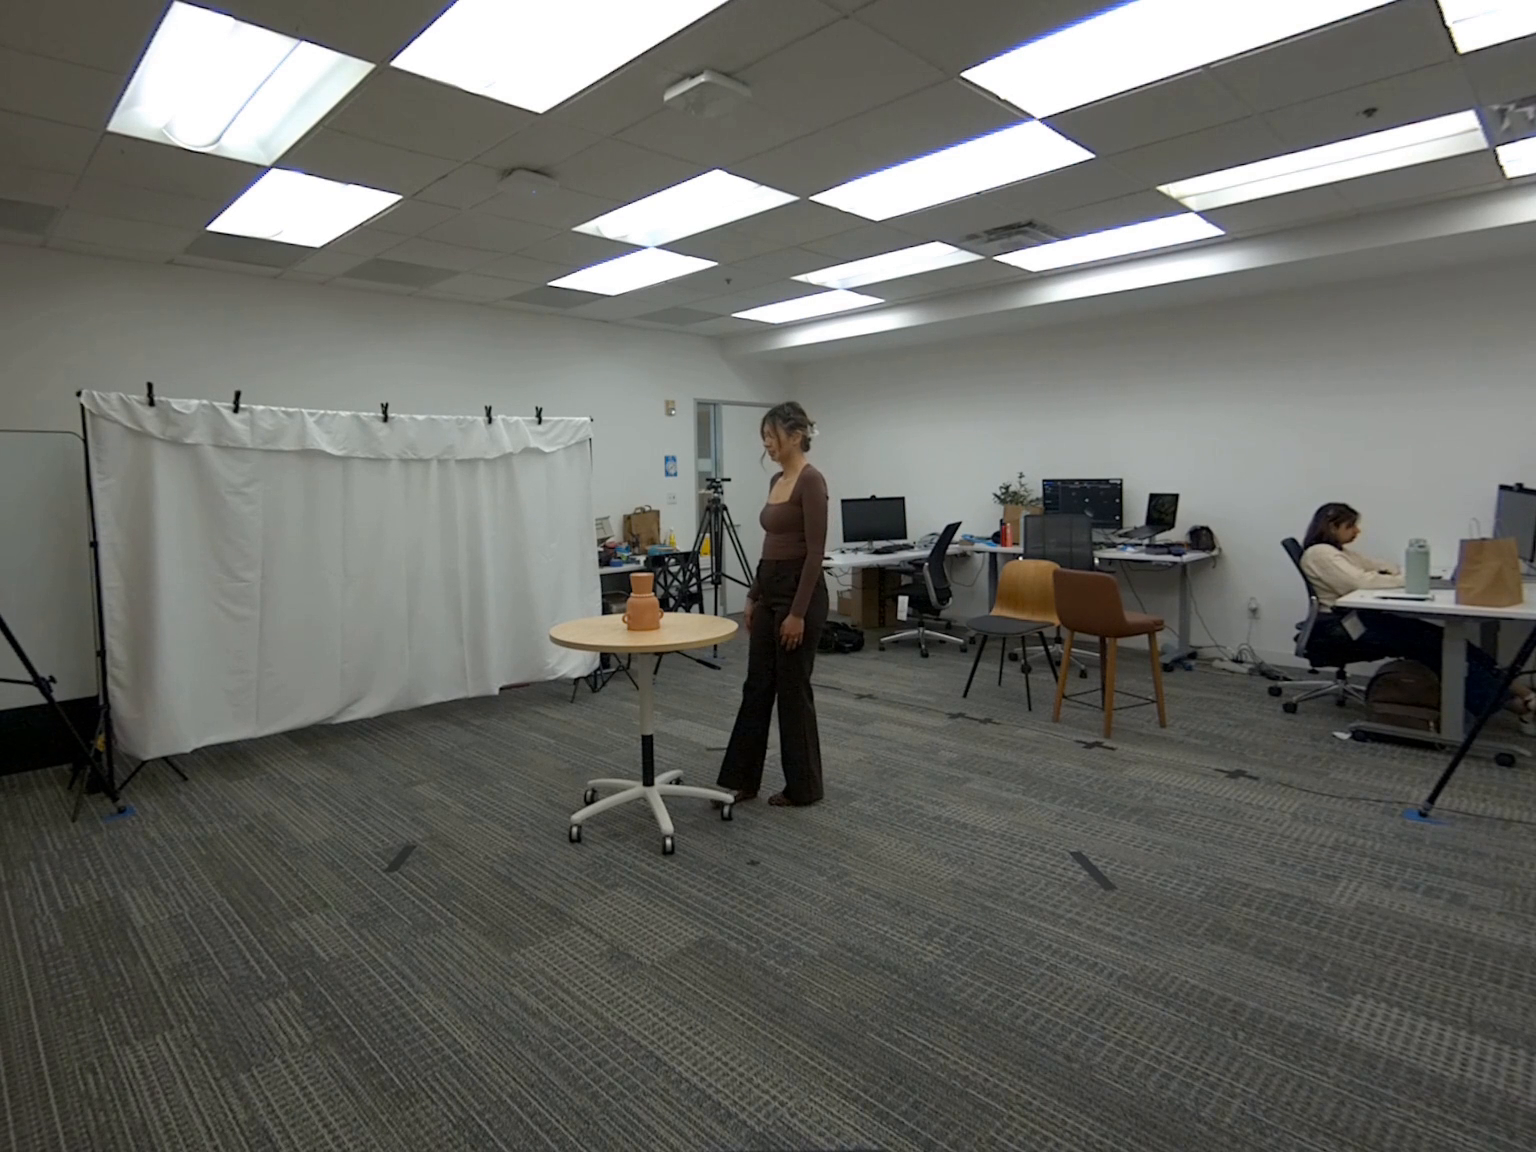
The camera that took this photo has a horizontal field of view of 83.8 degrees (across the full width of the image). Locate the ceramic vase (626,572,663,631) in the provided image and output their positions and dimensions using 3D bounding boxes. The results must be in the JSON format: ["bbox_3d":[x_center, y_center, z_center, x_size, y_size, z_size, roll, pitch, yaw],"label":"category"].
[{"bbox_3d":[-0.508,0.104,3.464,0.136,0.219,0.158,-2,5,10],"label":"ceramic vase"}]
